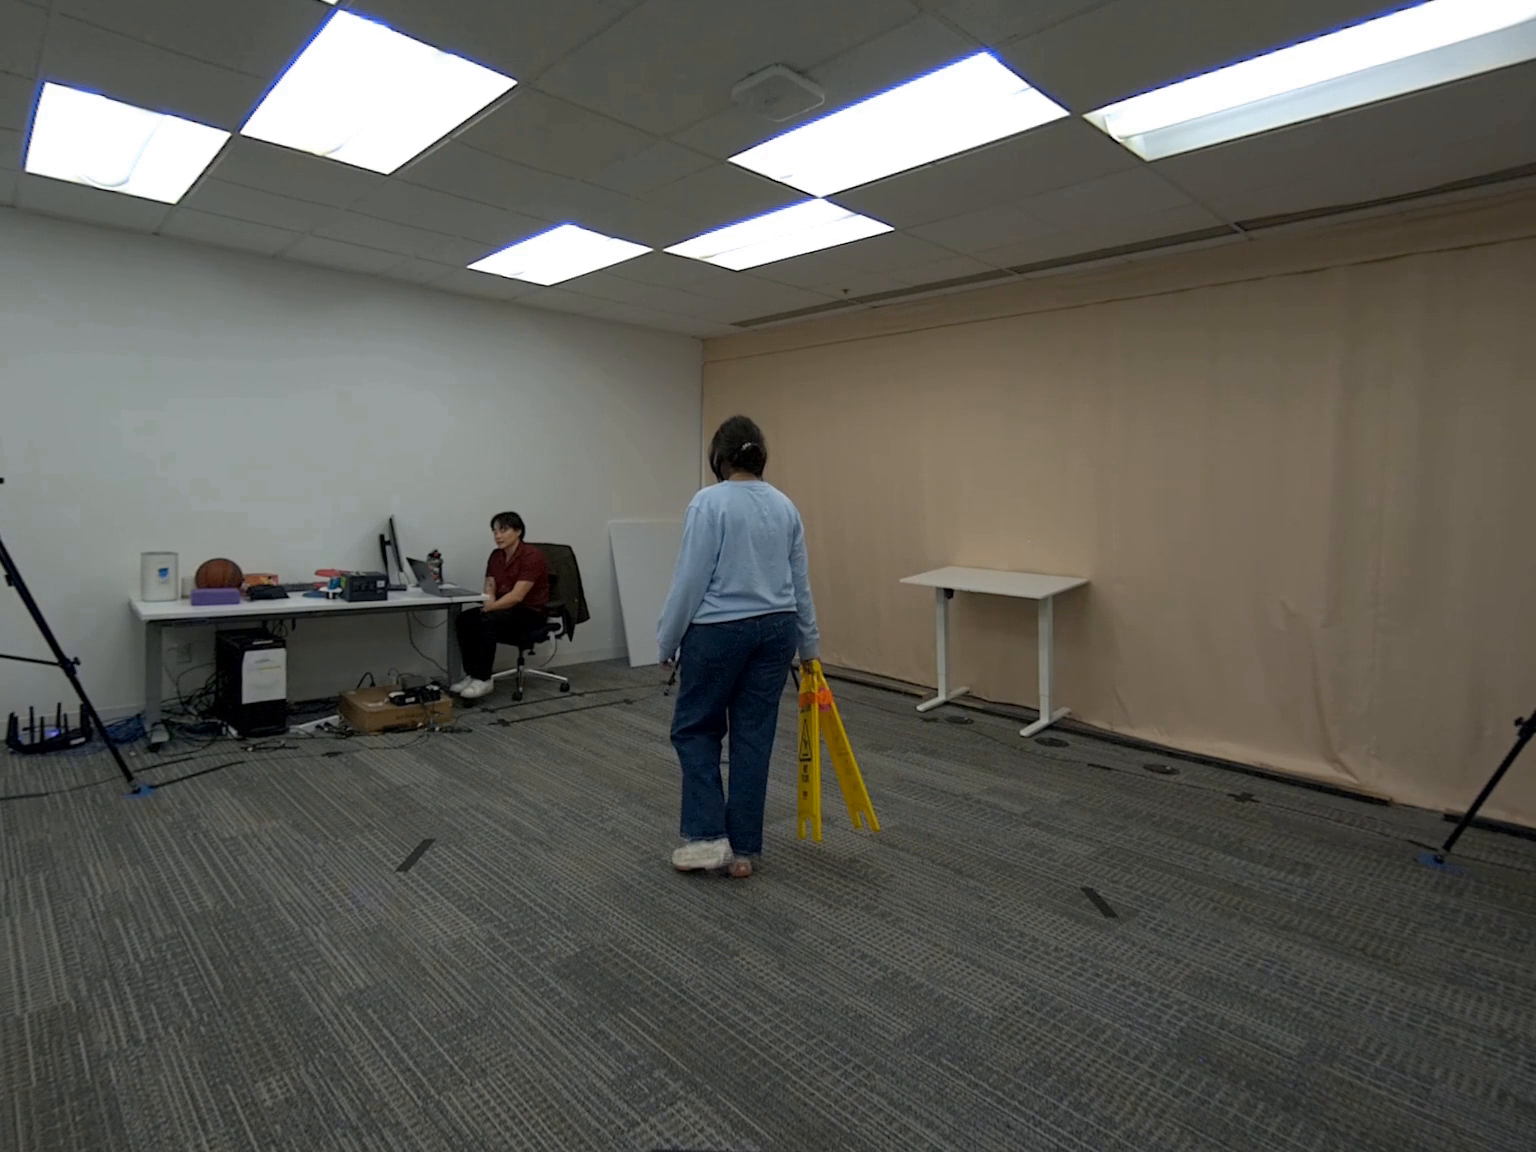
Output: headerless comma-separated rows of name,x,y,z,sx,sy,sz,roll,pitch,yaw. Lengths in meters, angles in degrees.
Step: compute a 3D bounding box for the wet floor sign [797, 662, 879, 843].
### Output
wet floor sign,0.196,0.655,3.238,0.287,0.653,0.281,-6,-14,-13
